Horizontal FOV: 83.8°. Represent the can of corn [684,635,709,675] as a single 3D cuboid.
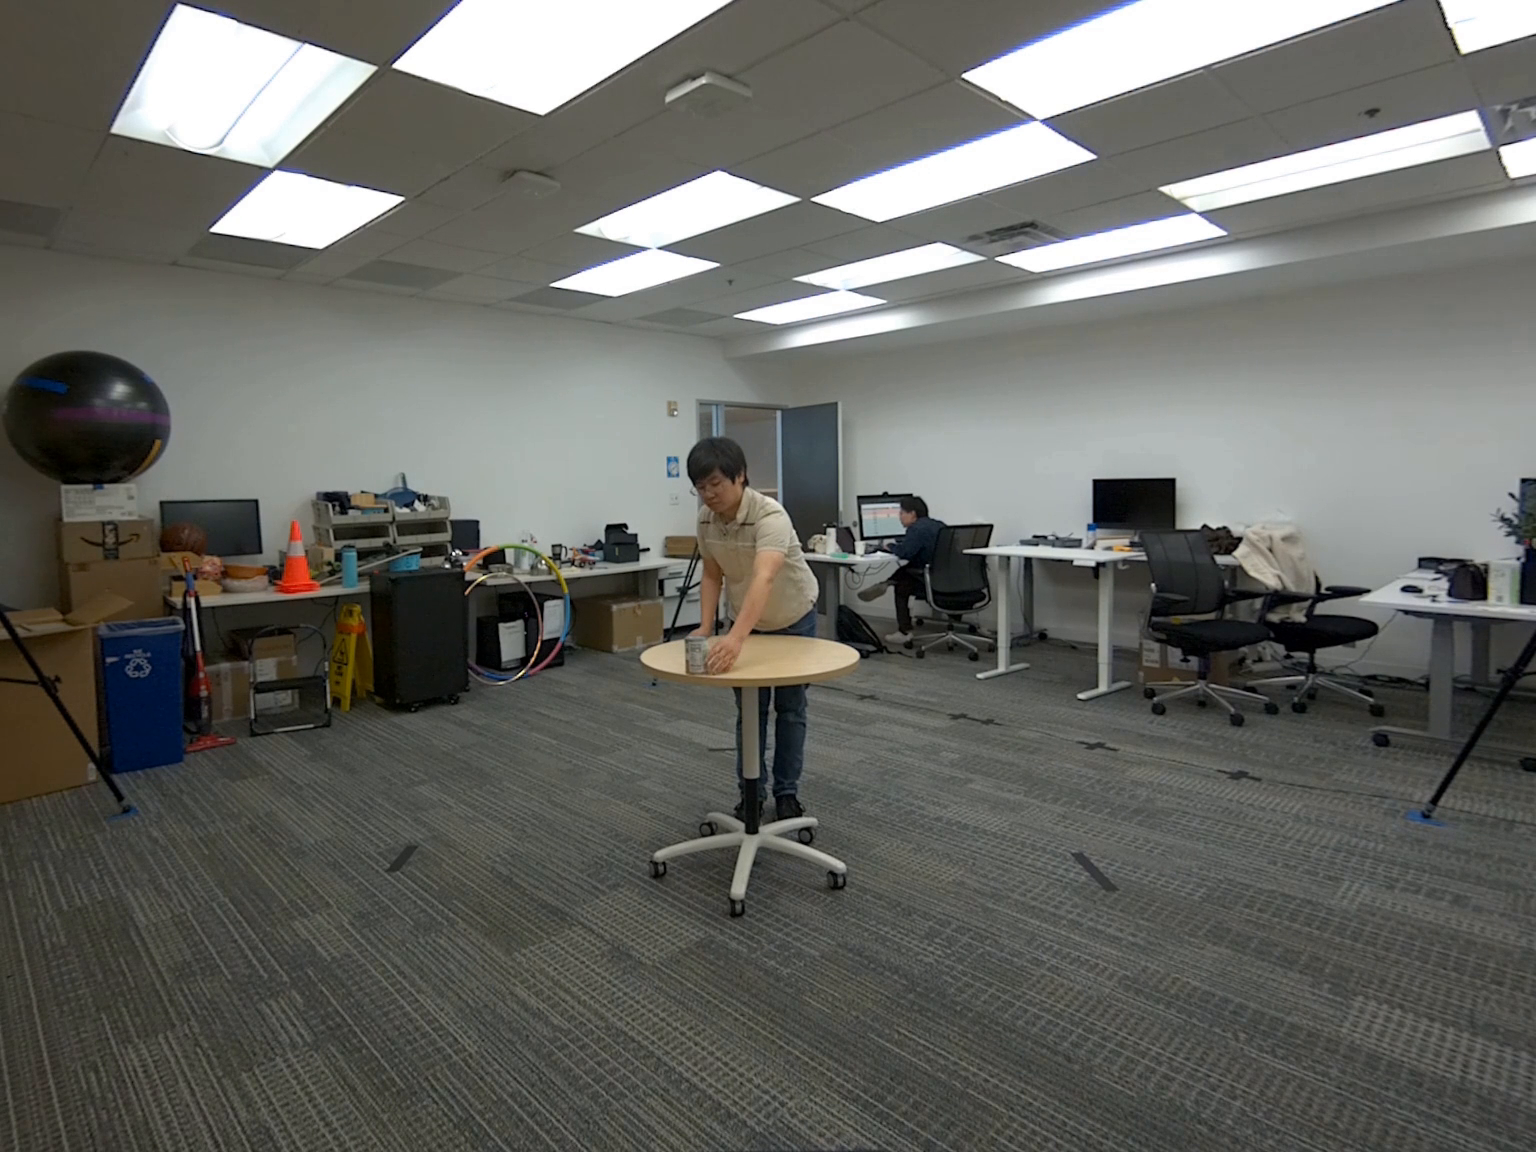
[{"bbox_3d":[-0.228,0.254,2.705,0.074,0.111,0.074,-3,0,-2],"label":"can of corn"}]
